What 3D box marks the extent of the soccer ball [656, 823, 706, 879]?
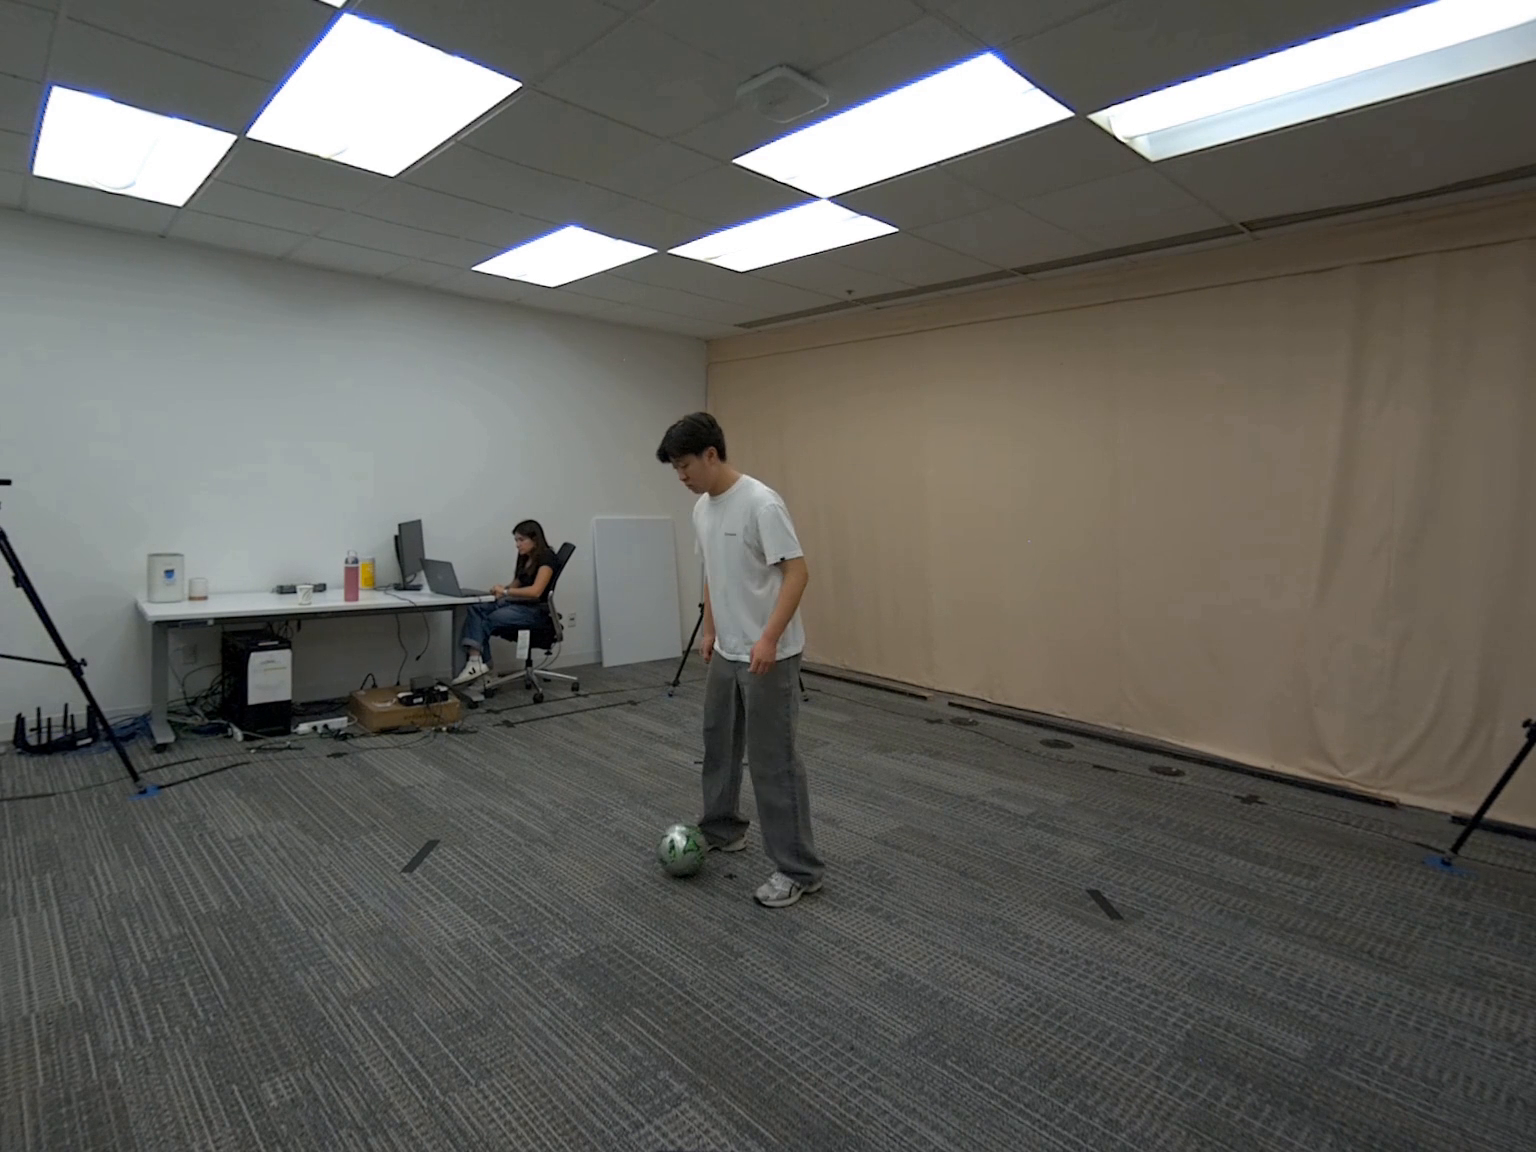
[{"bbox_3d":[-0.328,1.010,3.105,0.187,0.187,0.188,1,4,-1],"label":"soccer ball"}]
